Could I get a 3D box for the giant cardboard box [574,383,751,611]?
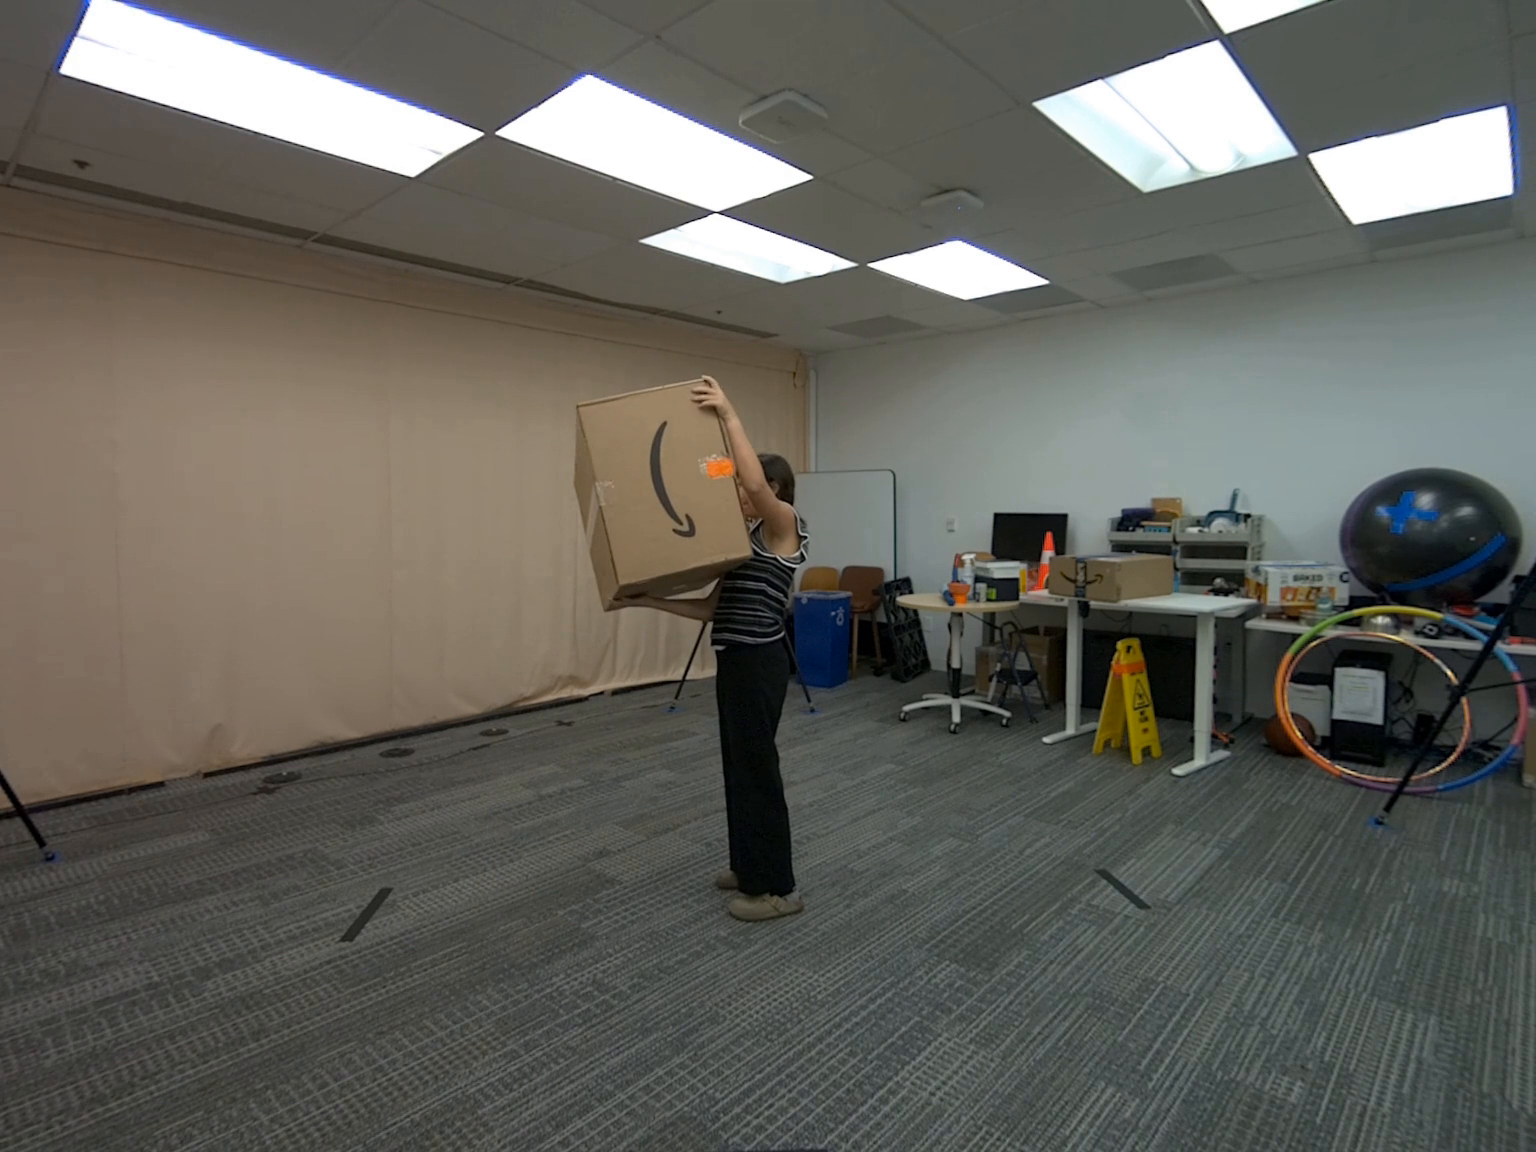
[{"bbox_3d":[-0.421,-0.236,3.050,0.421,0.580,1.033,-12,-4,-14],"label":"giant cardboard box"}]
